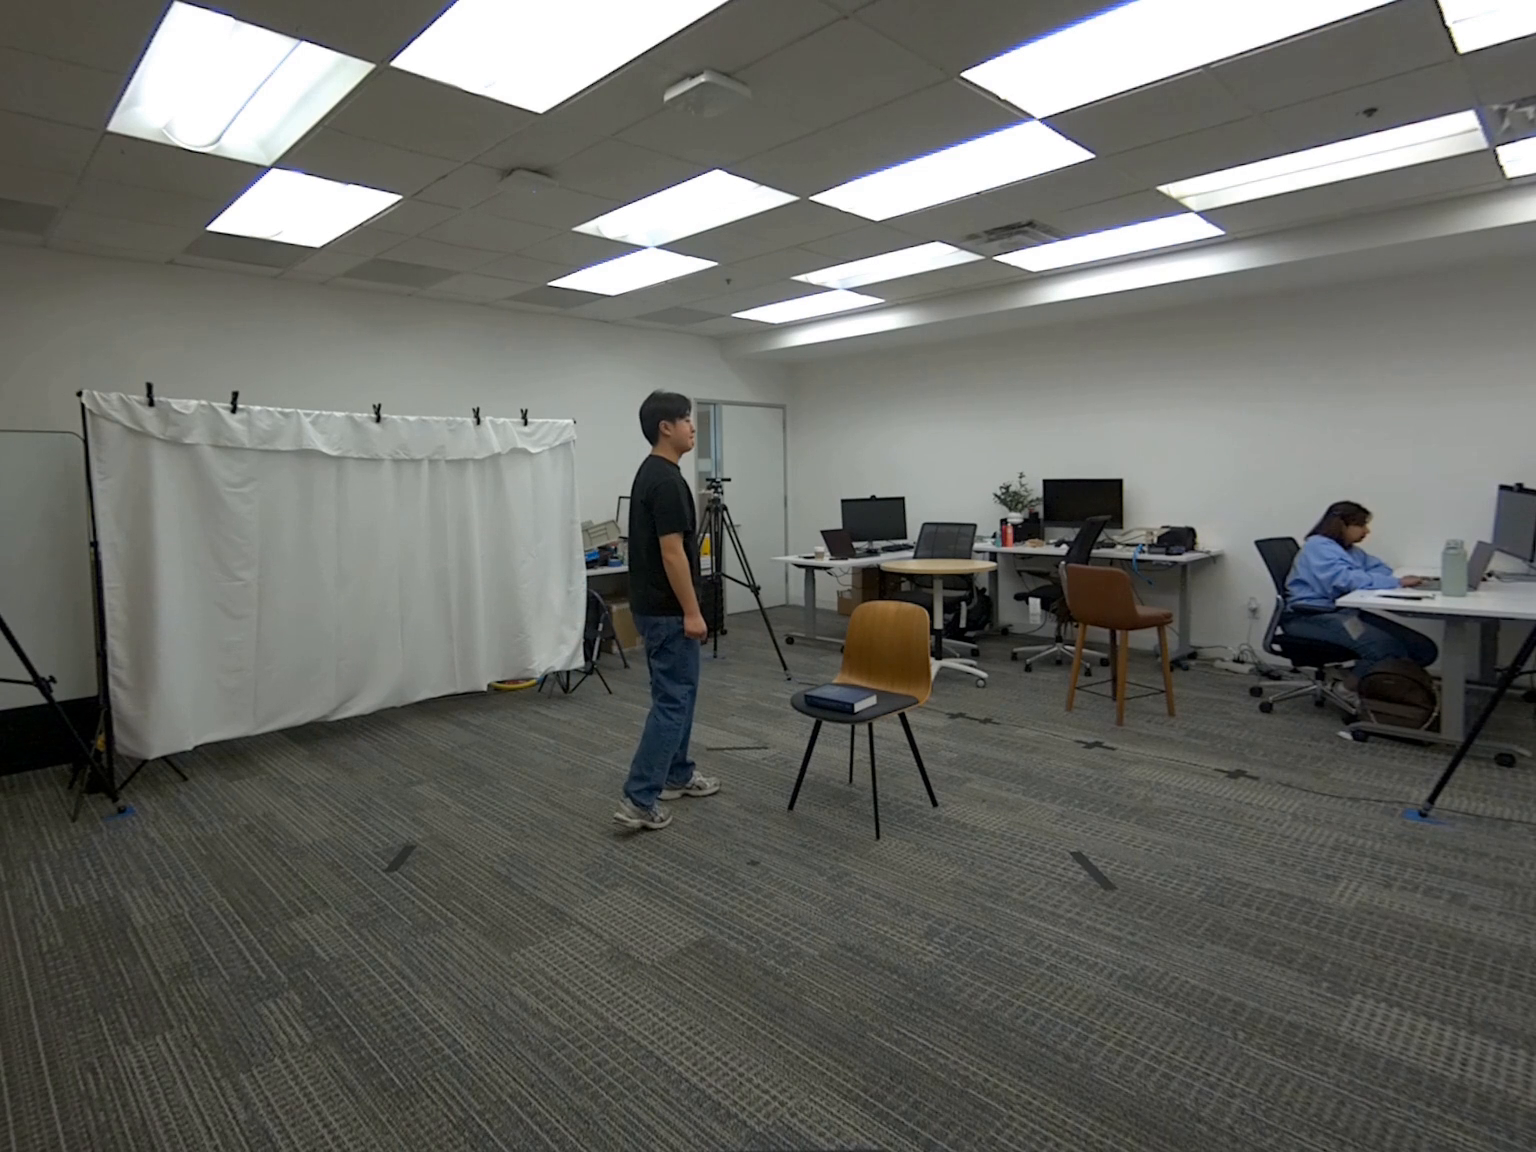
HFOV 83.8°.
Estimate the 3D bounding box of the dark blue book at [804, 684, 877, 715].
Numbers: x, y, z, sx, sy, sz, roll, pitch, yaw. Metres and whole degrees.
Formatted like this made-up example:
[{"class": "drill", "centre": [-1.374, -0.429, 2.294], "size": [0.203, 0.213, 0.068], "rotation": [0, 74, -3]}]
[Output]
[{"class": "dark blue book", "centre": [0.297, 0.491, 3.433], "size": [0.252, 0.045, 0.159], "rotation": [3, 9, 43]}]
